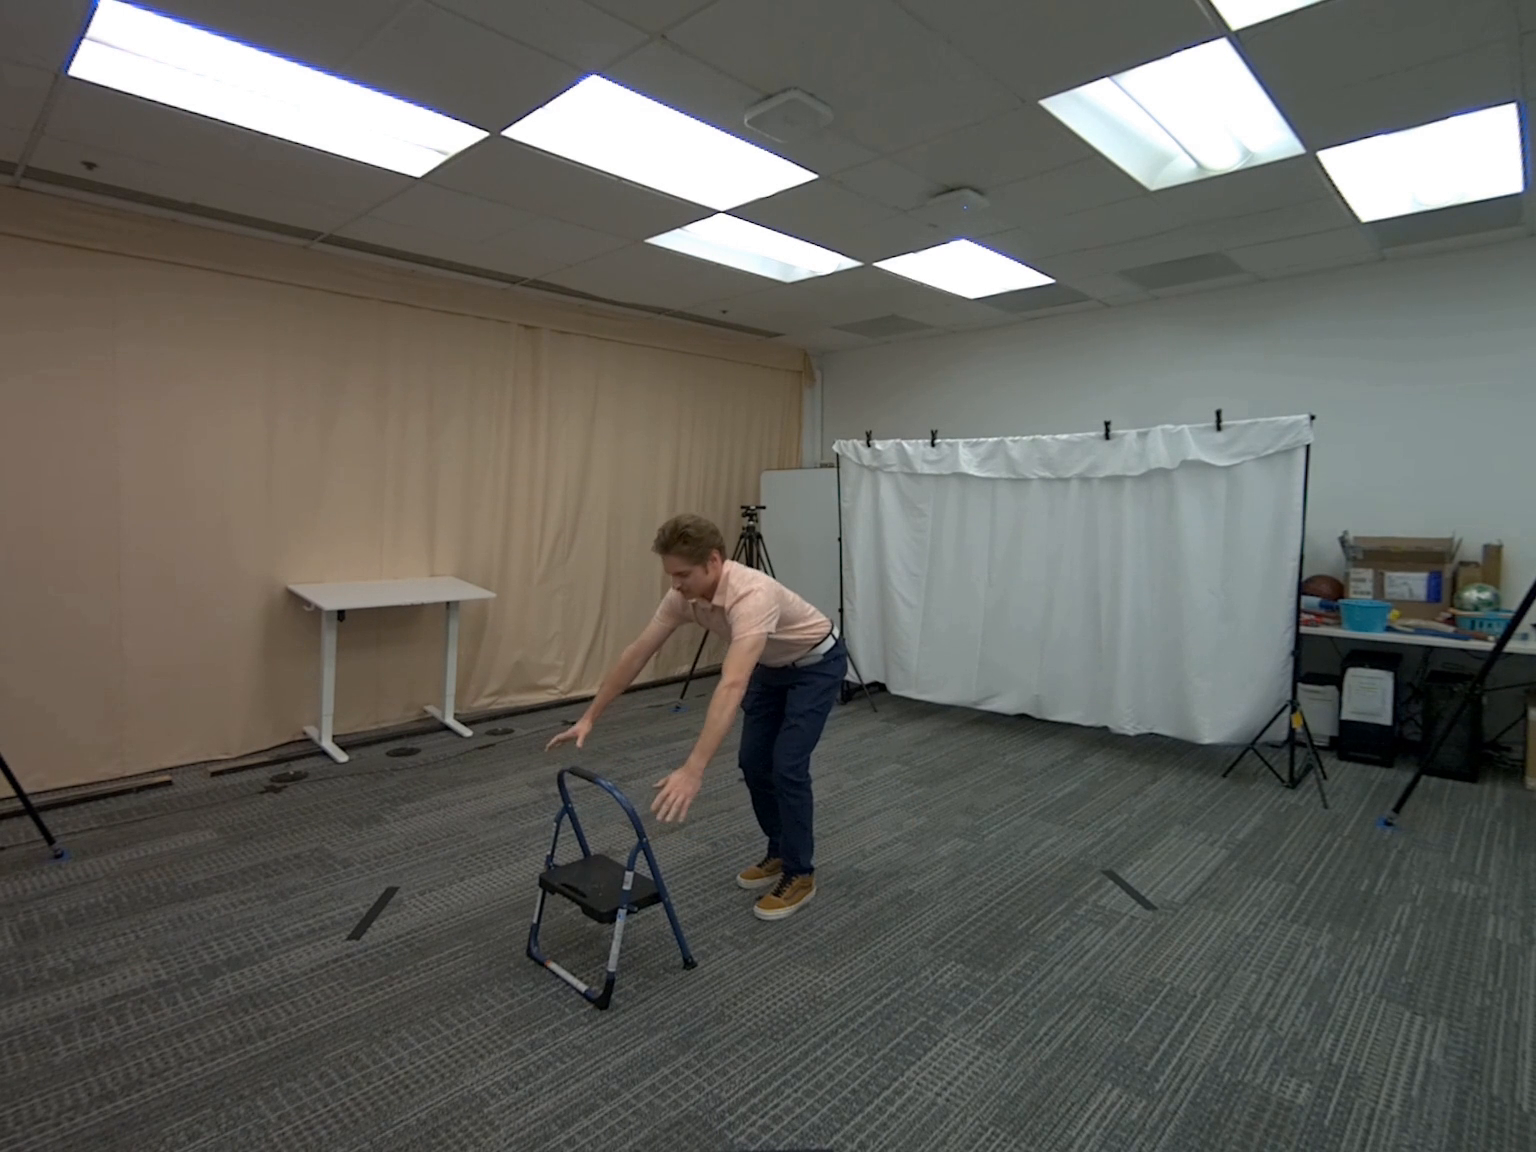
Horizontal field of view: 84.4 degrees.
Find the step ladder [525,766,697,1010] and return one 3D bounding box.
[{"bbox_3d":[-0.486,0.880,2.568,0.445,0.605,0.338,3,4,44],"label":"step ladder"}]
